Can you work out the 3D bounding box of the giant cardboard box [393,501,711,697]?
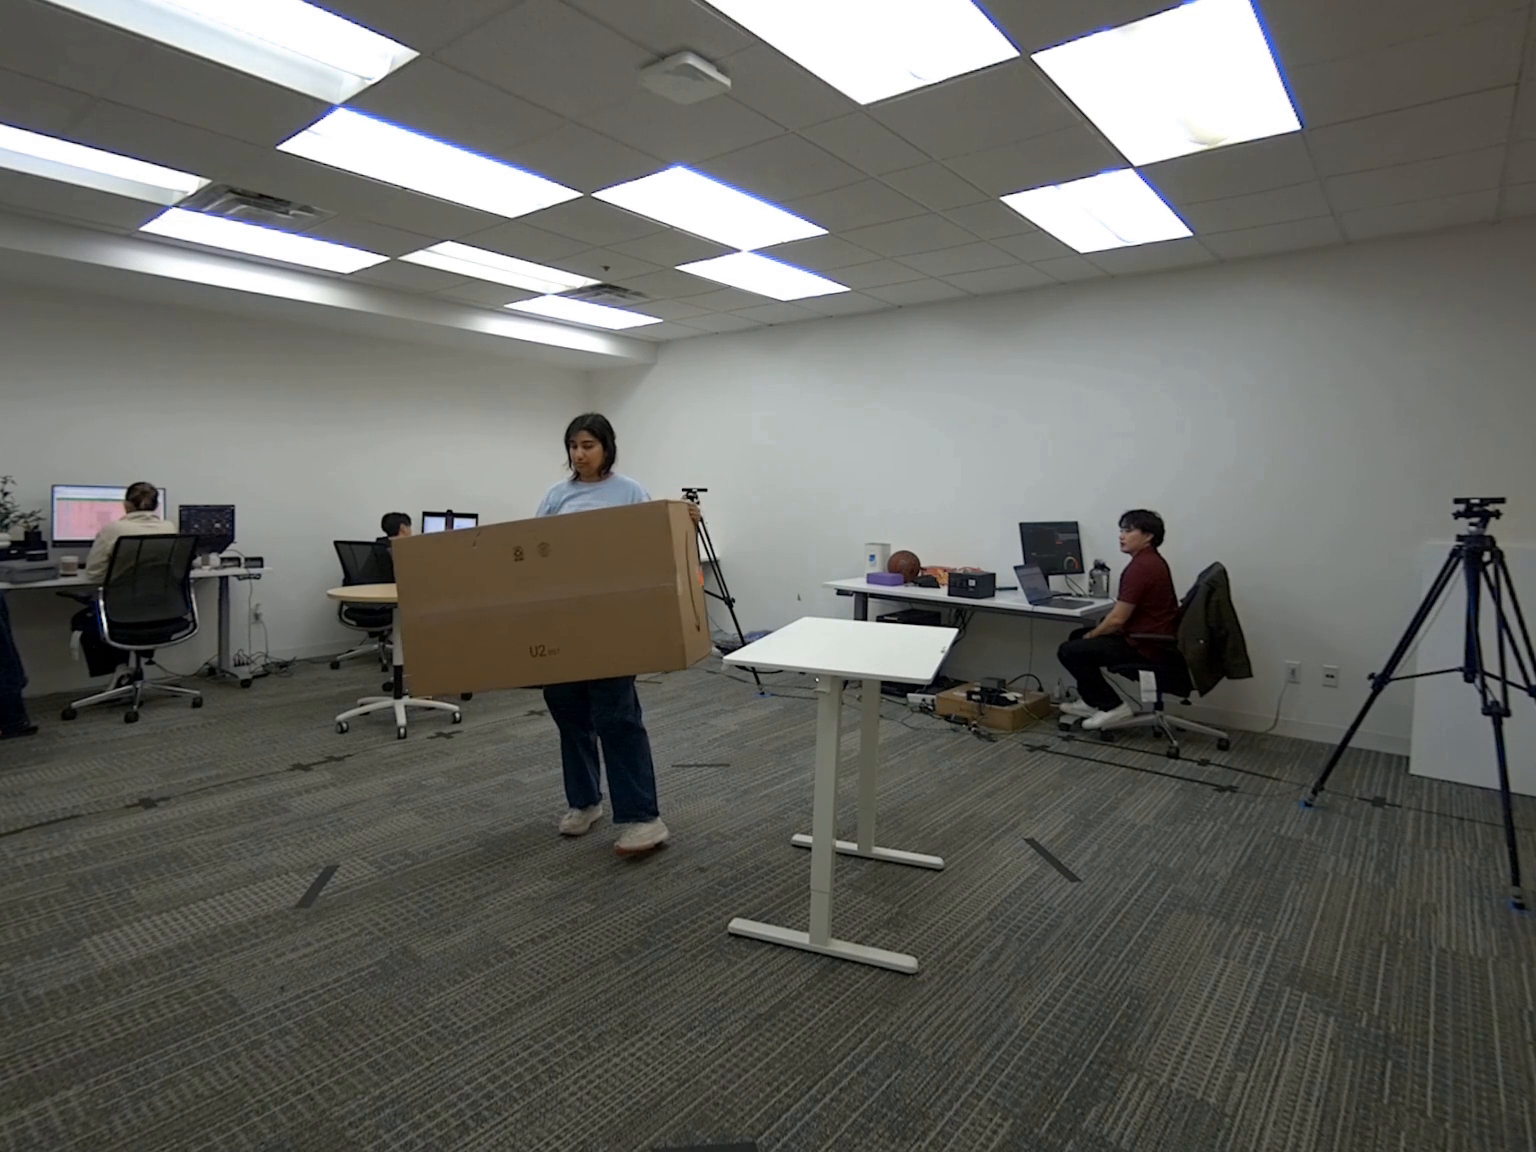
[{"bbox_3d":[-0.785,0.070,3.111,1.035,0.578,0.422,-6,1,9],"label":"giant cardboard box"}]
